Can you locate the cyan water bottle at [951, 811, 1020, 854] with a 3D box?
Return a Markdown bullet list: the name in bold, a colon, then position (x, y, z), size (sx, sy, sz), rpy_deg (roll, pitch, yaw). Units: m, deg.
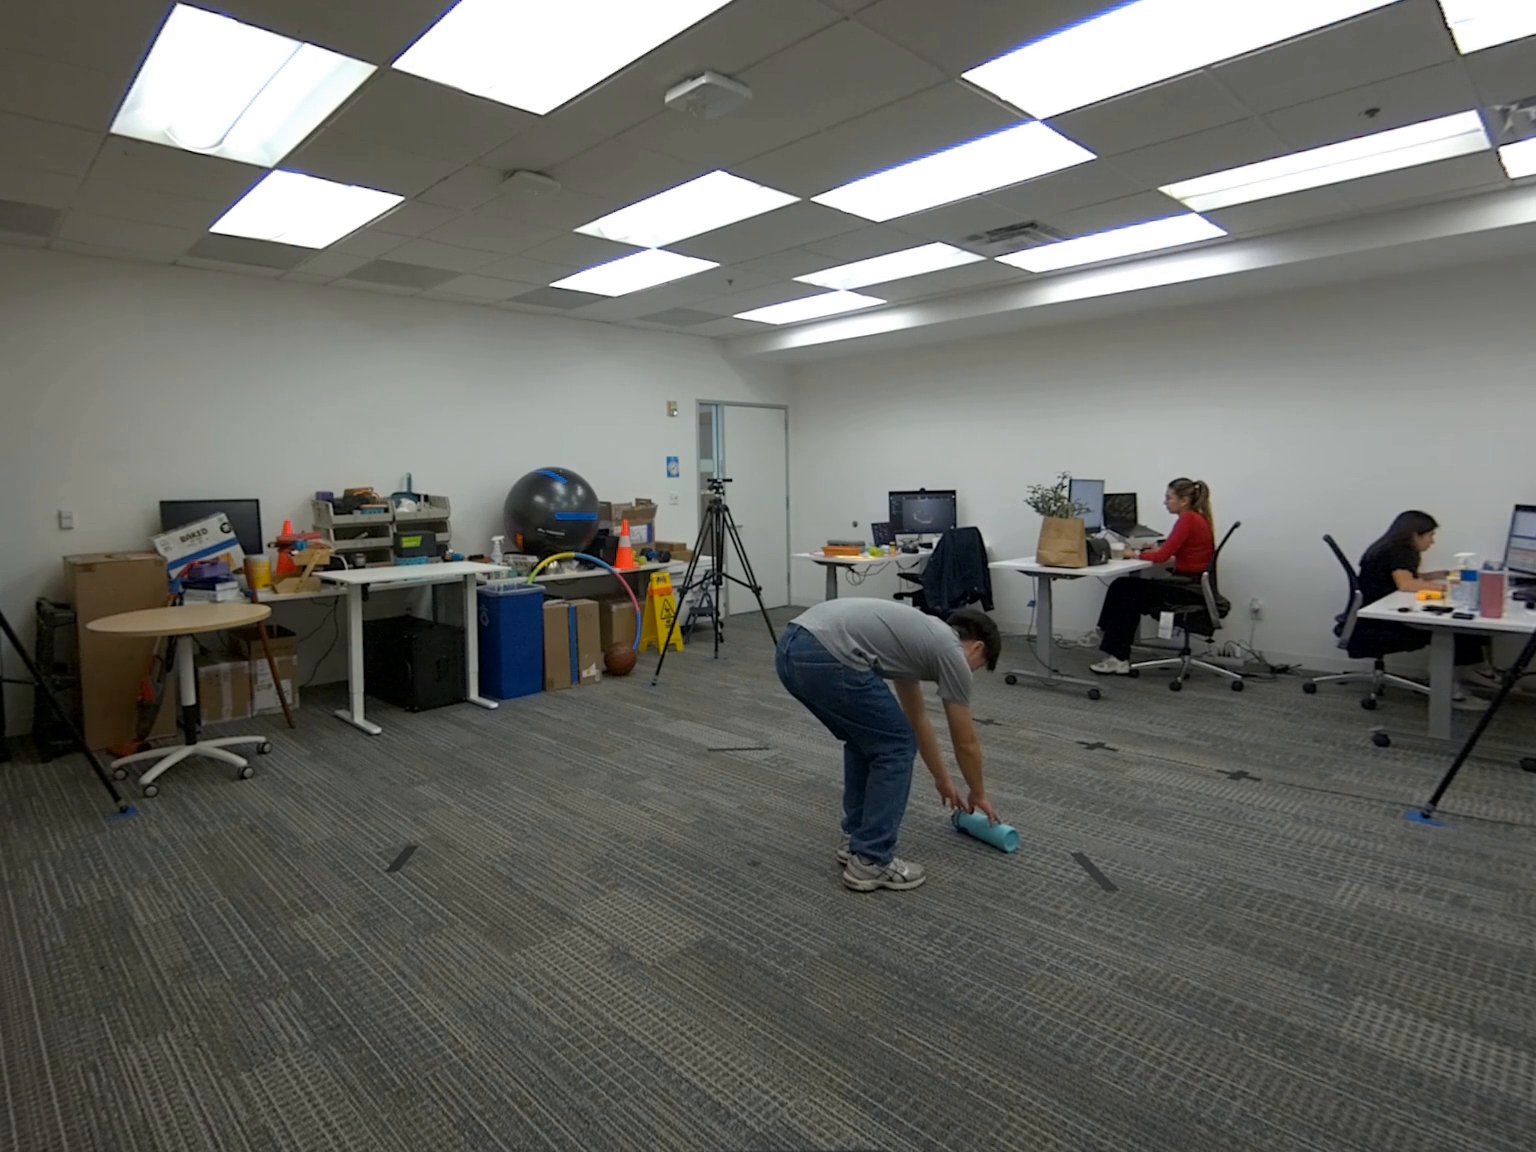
- **cyan water bottle**: position (0.822, 0.962, 3.275), size (0.090, 0.092, 0.291), rpy_deg (-4, 6, -30)
